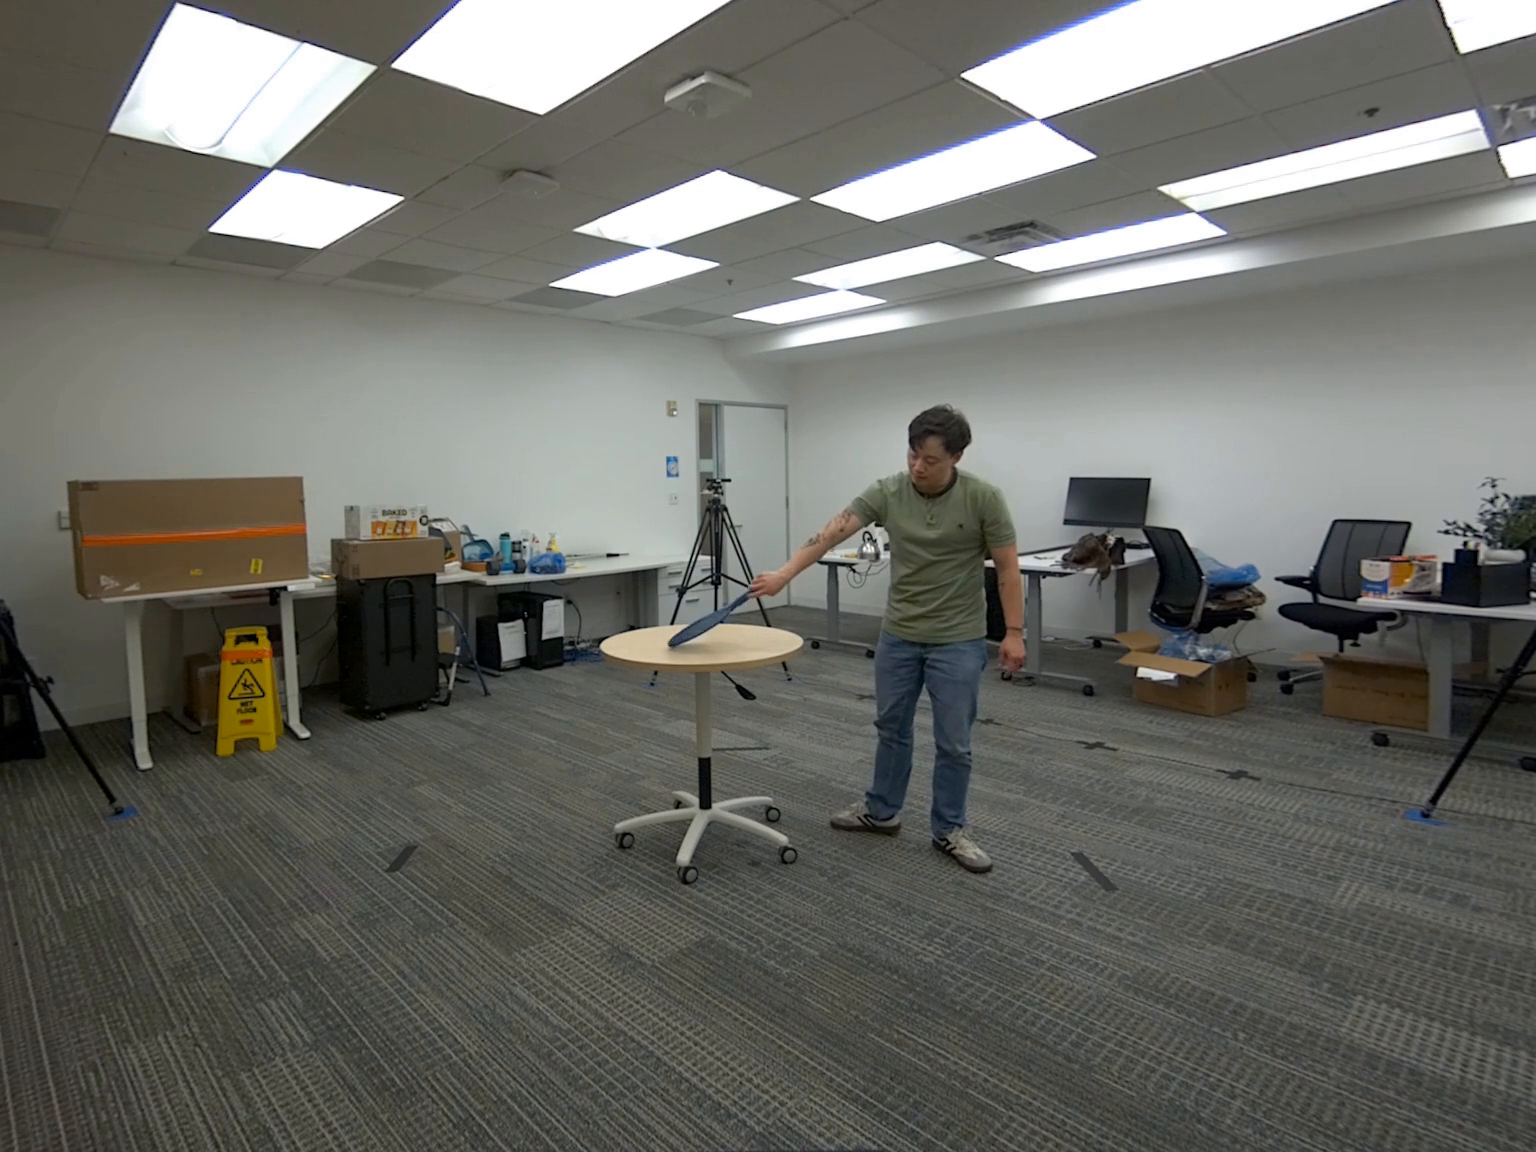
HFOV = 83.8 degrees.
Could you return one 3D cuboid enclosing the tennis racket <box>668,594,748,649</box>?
[{"bbox_3d":[-0.165,0.143,3.076,0.435,0.032,0.209,-32,-11,15],"label":"tennis racket"}]
